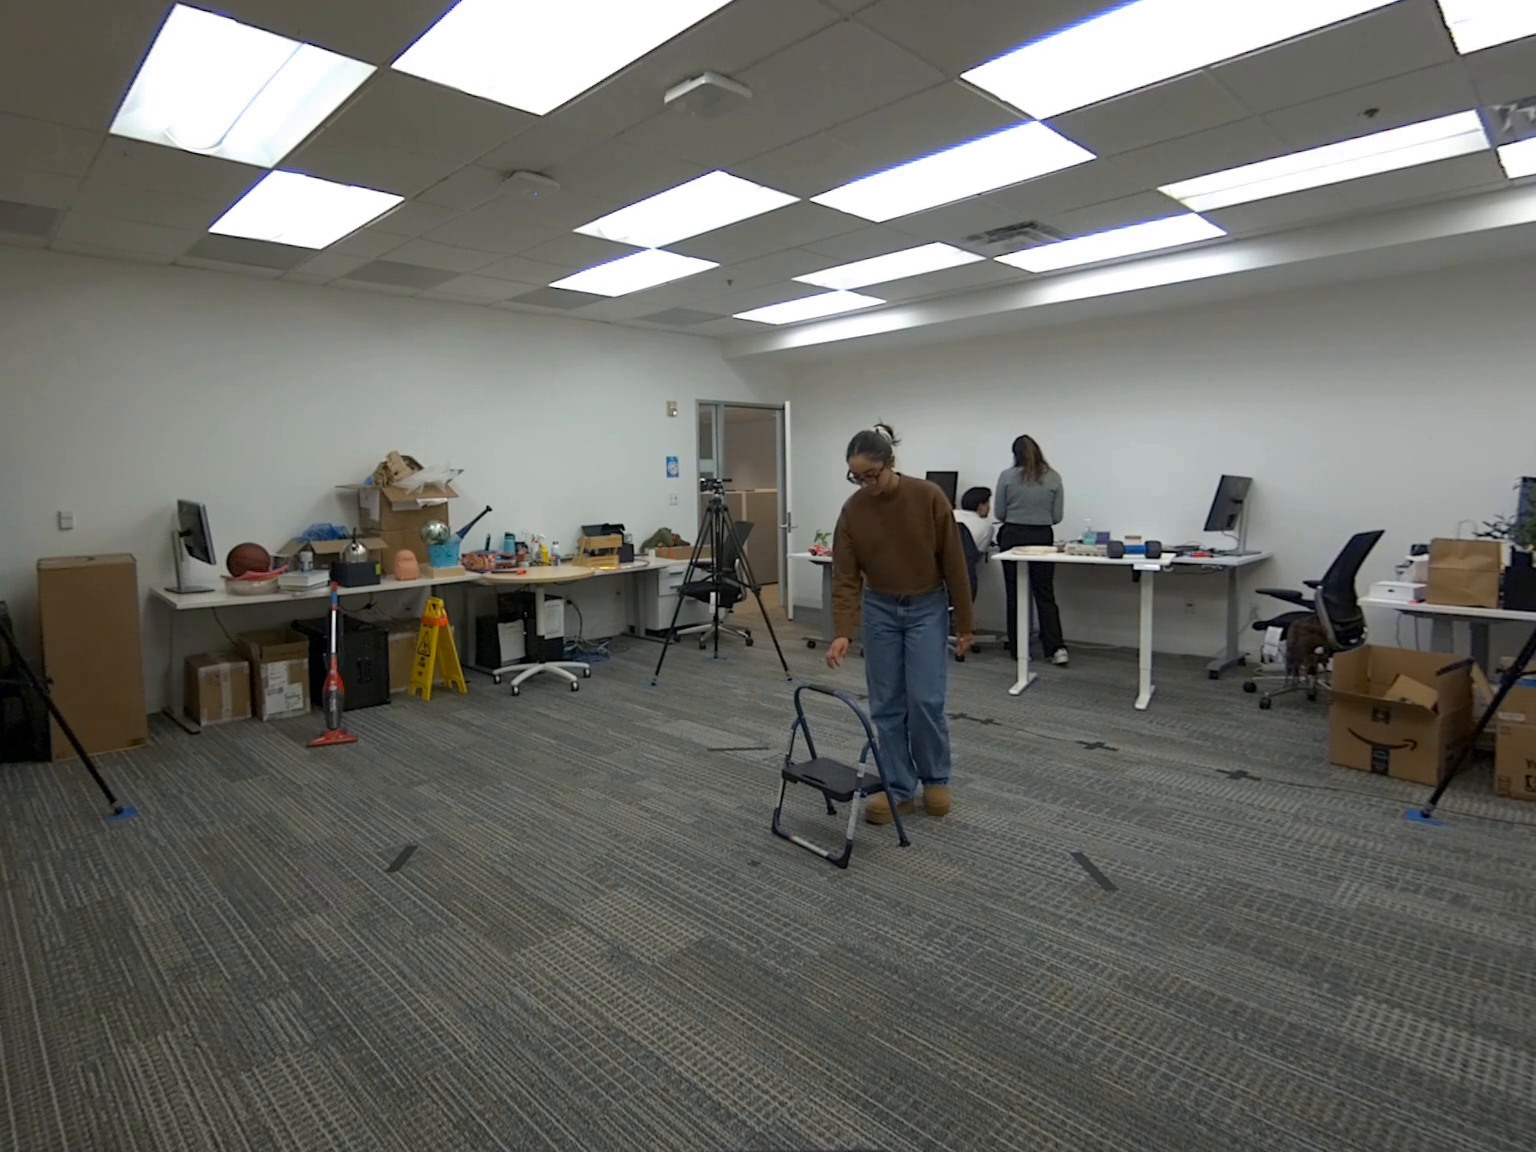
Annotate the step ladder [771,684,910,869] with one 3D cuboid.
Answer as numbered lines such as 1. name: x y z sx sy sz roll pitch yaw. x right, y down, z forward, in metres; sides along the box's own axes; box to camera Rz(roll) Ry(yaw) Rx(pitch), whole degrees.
1. step ladder: 0.269 0.714 3.289 0.340 0.604 0.443 -4 5 -38
